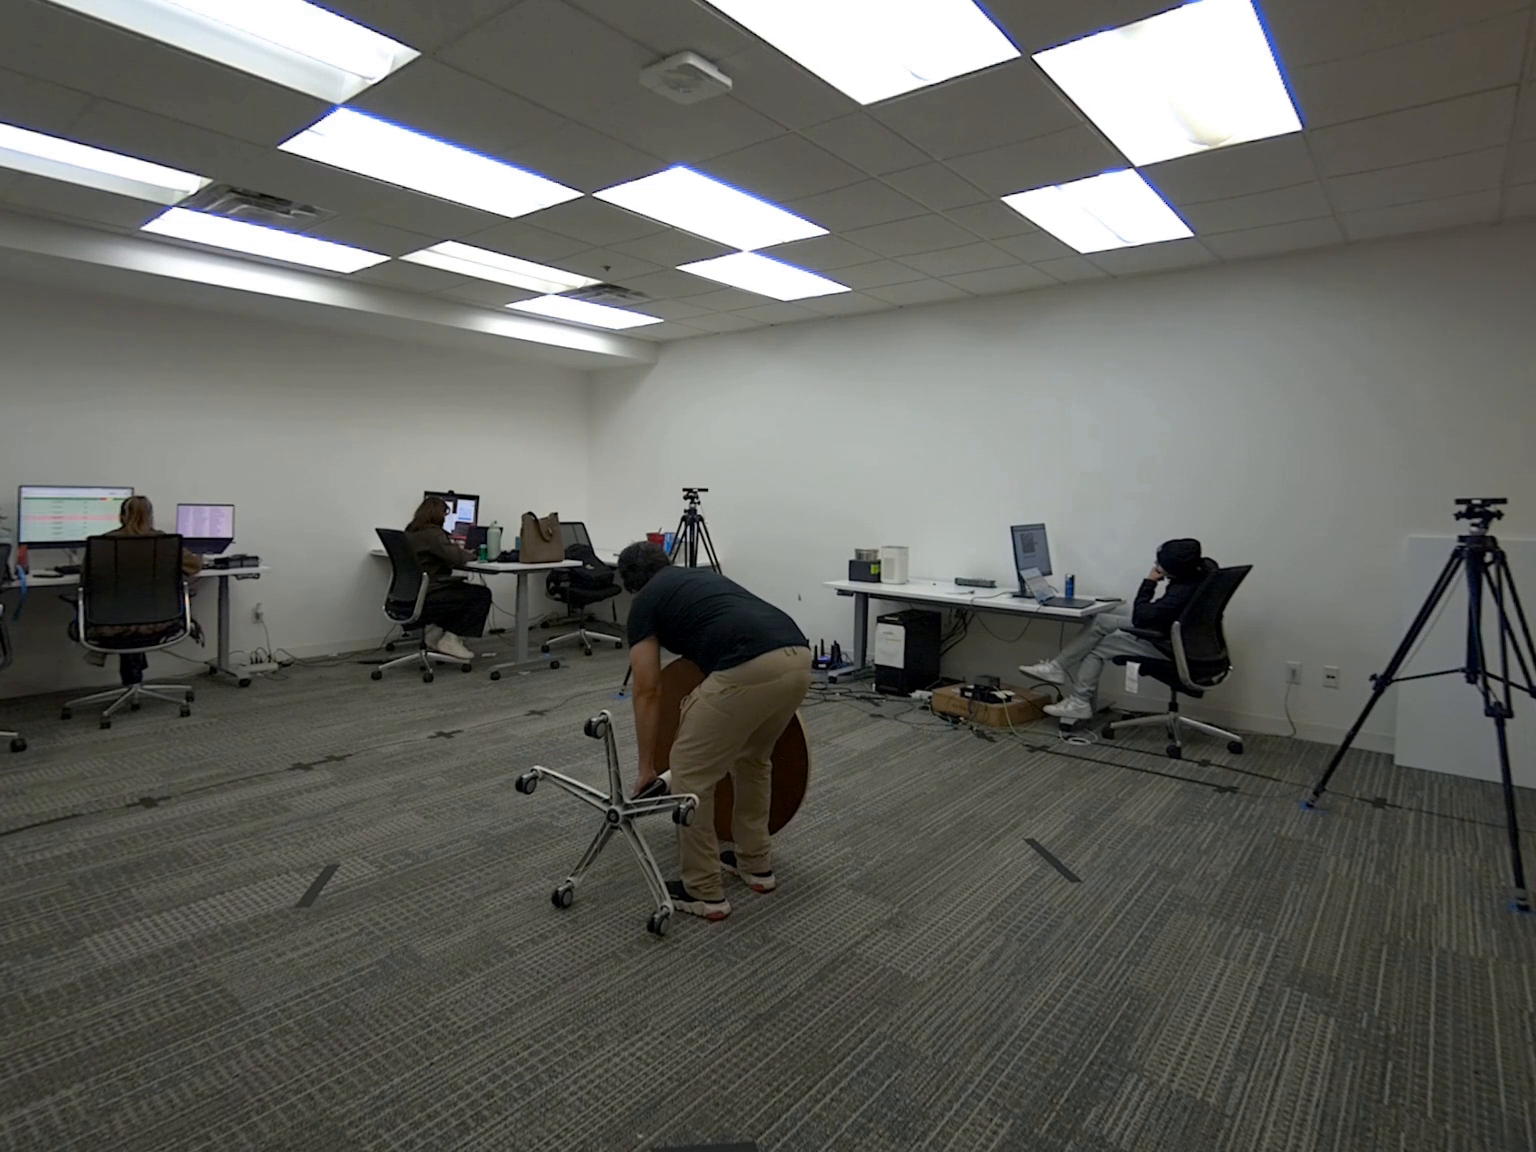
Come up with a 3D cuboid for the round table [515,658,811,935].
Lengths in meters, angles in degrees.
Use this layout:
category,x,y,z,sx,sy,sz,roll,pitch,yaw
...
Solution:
category,x,y,z,sx,sy,sz,roll,pitch,yaw
round table,-0.372,0.716,3.010,0.807,0.780,0.770,3,8,28
